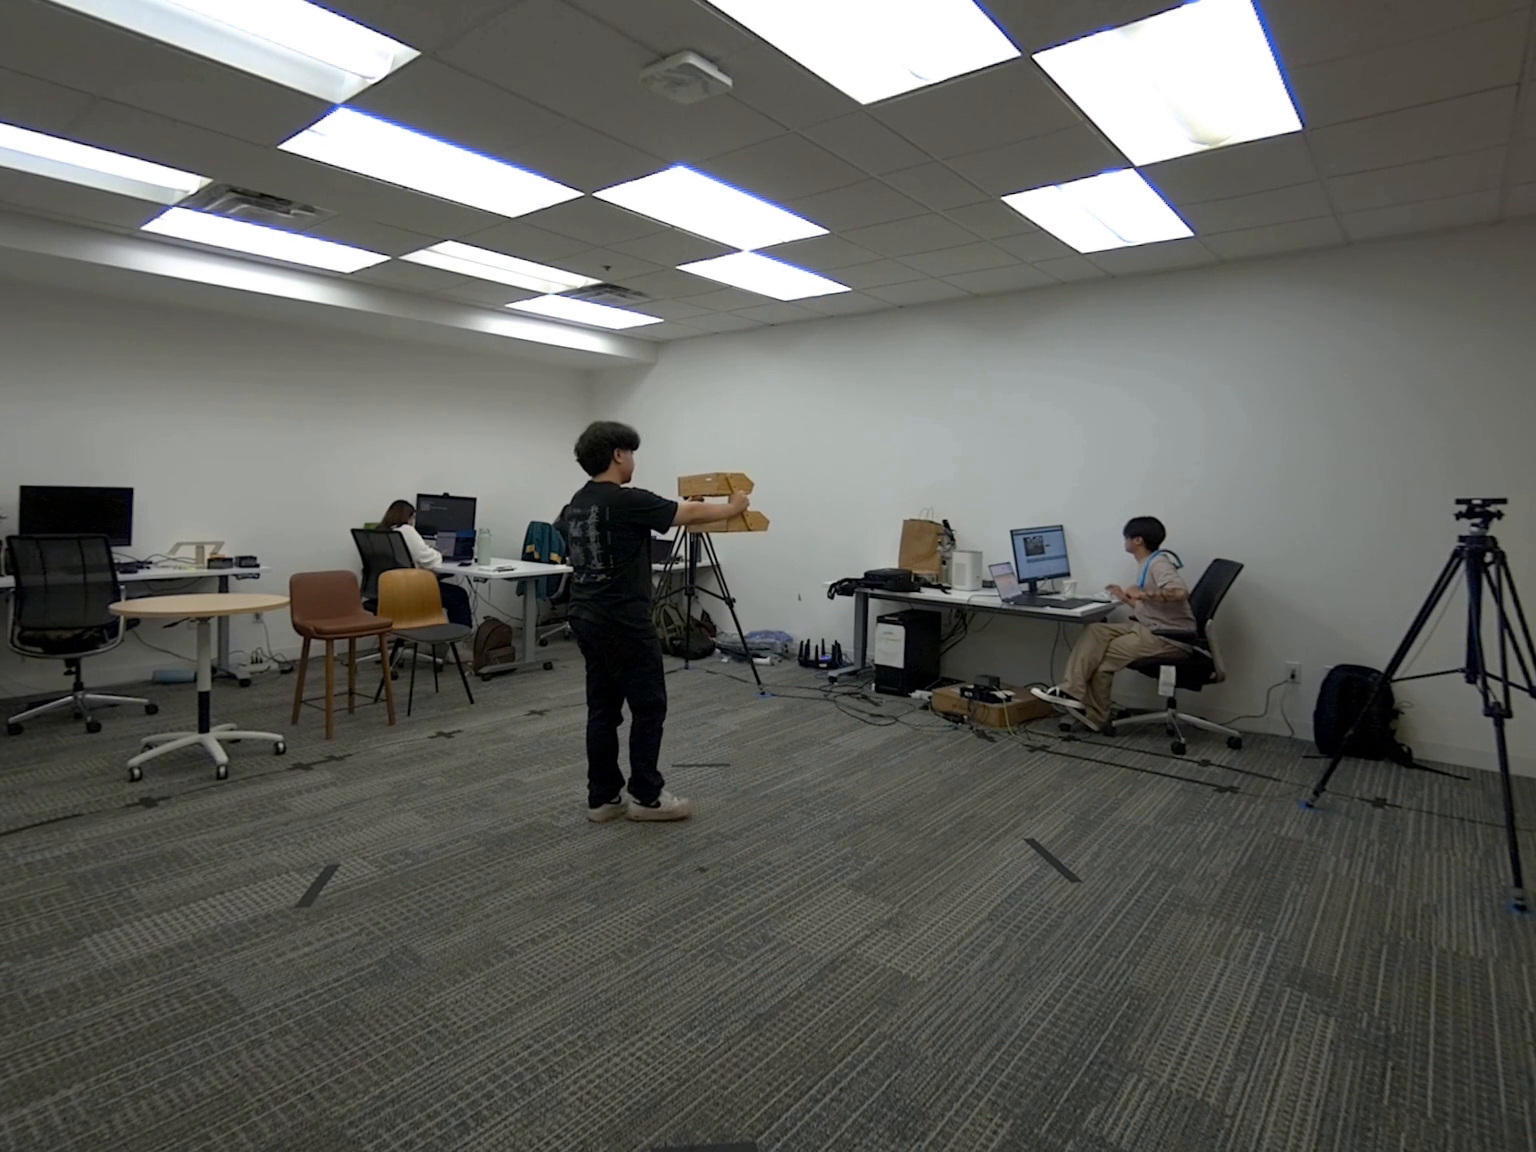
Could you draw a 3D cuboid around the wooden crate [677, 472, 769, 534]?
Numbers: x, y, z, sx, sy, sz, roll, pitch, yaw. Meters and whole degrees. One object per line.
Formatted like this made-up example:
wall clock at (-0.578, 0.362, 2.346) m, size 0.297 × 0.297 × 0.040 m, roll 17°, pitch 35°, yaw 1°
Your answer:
wooden crate at (-0.212, -0.343, 3.931) m, size 0.293 × 0.273 × 0.334 m, roll -2°, pitch 1°, yaw -41°
